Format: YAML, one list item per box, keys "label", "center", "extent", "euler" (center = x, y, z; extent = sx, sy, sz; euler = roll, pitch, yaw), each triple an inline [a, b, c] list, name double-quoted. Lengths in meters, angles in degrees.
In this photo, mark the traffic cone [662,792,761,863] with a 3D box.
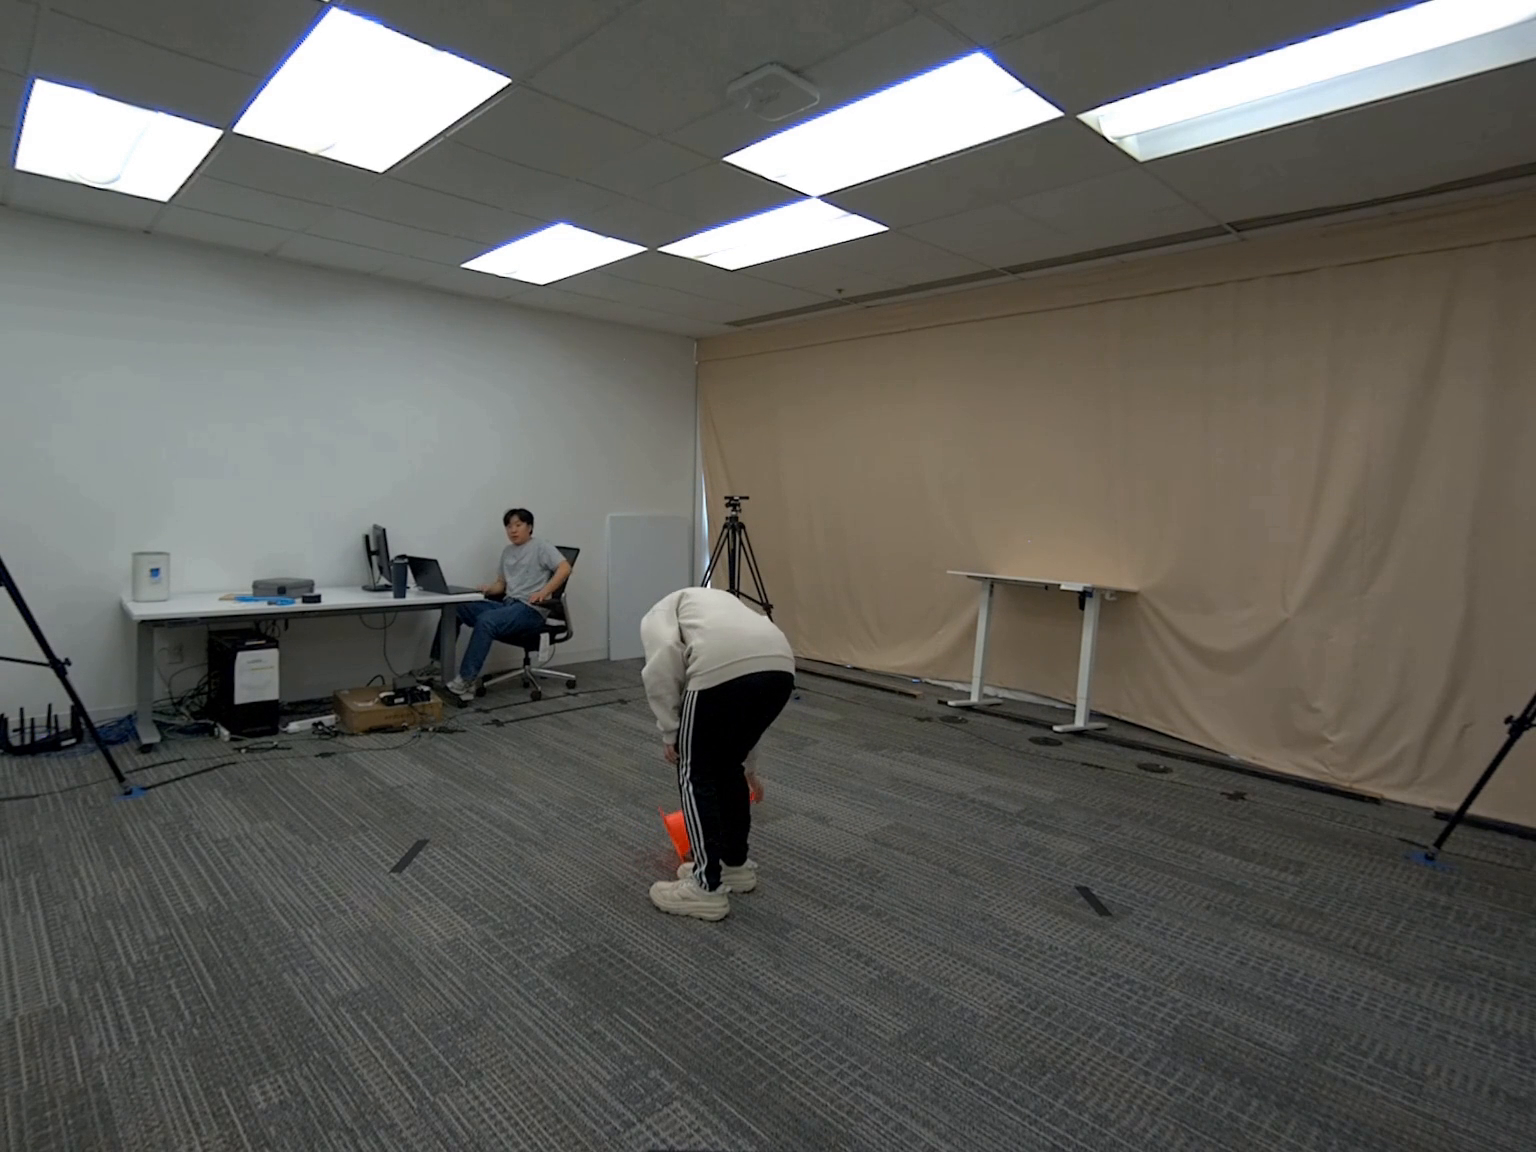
- label: "traffic cone"
  center: [-0.216, 0.932, 3.271]
  extent: [0.381, 0.203, 0.207]
  euler: [-23, 12, -16]
